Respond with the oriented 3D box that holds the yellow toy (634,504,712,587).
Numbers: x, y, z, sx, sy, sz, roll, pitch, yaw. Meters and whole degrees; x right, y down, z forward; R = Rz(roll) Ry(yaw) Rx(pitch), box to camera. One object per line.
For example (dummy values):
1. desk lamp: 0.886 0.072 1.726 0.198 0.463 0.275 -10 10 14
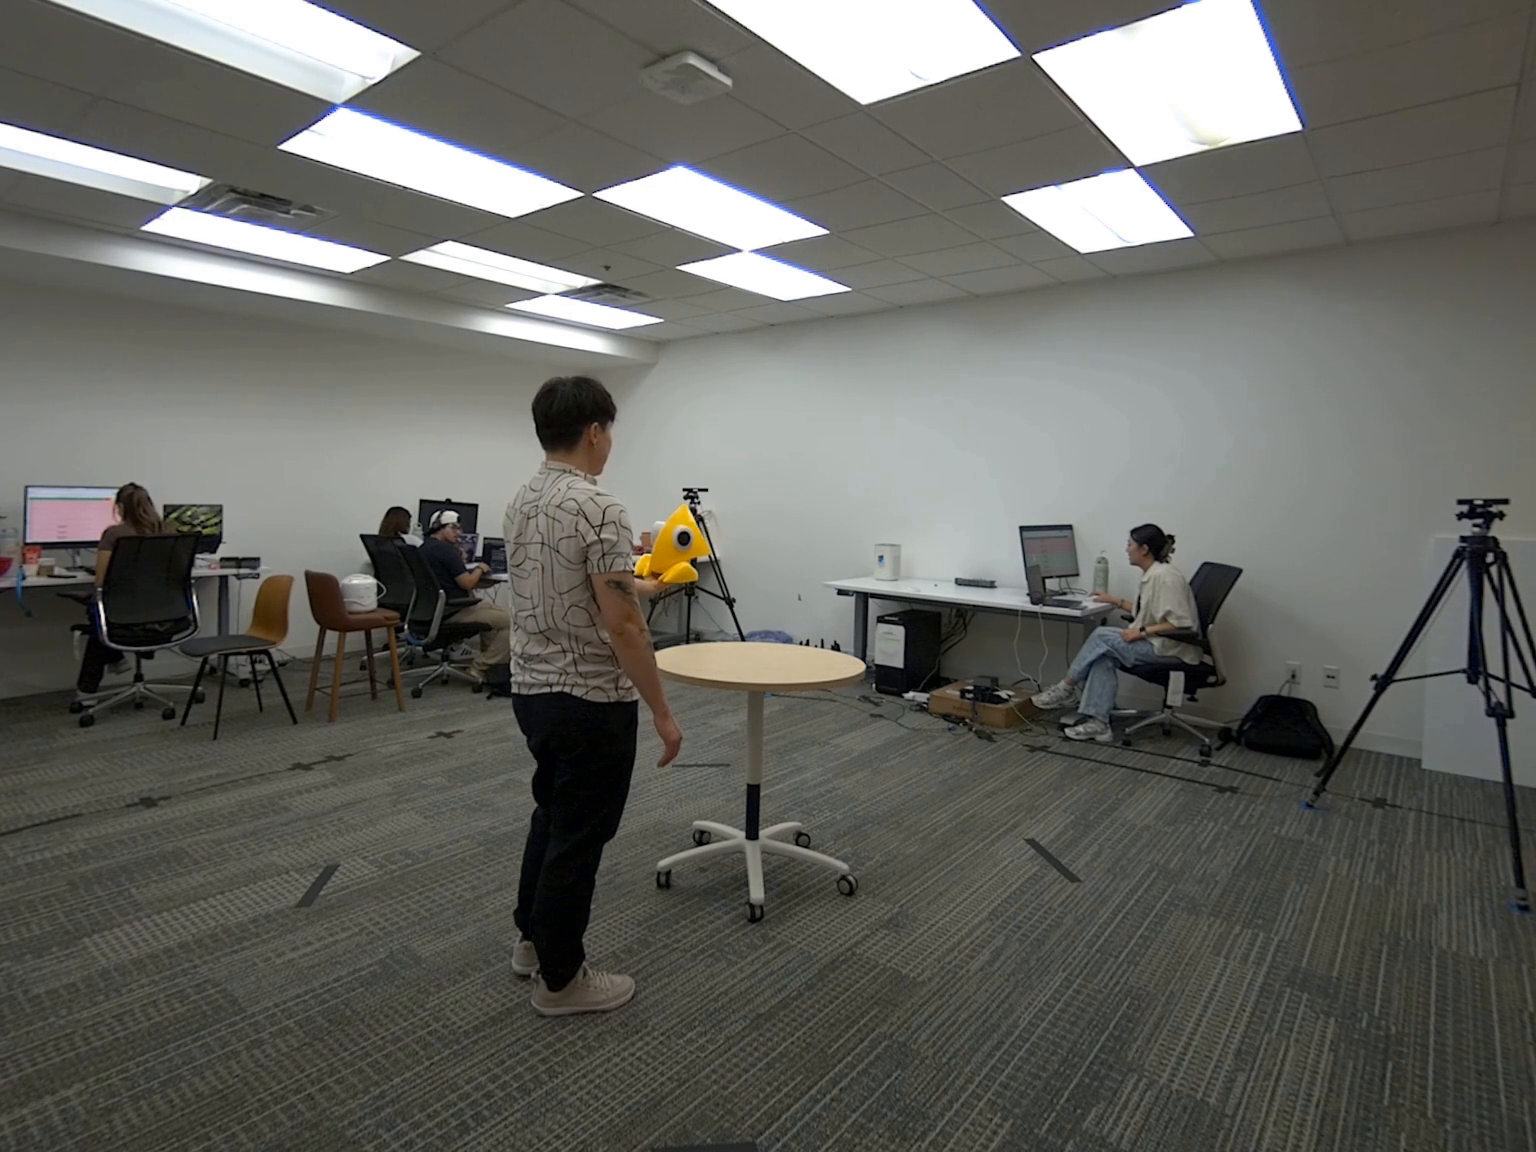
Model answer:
1. yellow toy: -0.318 -0.116 2.702 0.212 0.229 0.188 12 12 33
